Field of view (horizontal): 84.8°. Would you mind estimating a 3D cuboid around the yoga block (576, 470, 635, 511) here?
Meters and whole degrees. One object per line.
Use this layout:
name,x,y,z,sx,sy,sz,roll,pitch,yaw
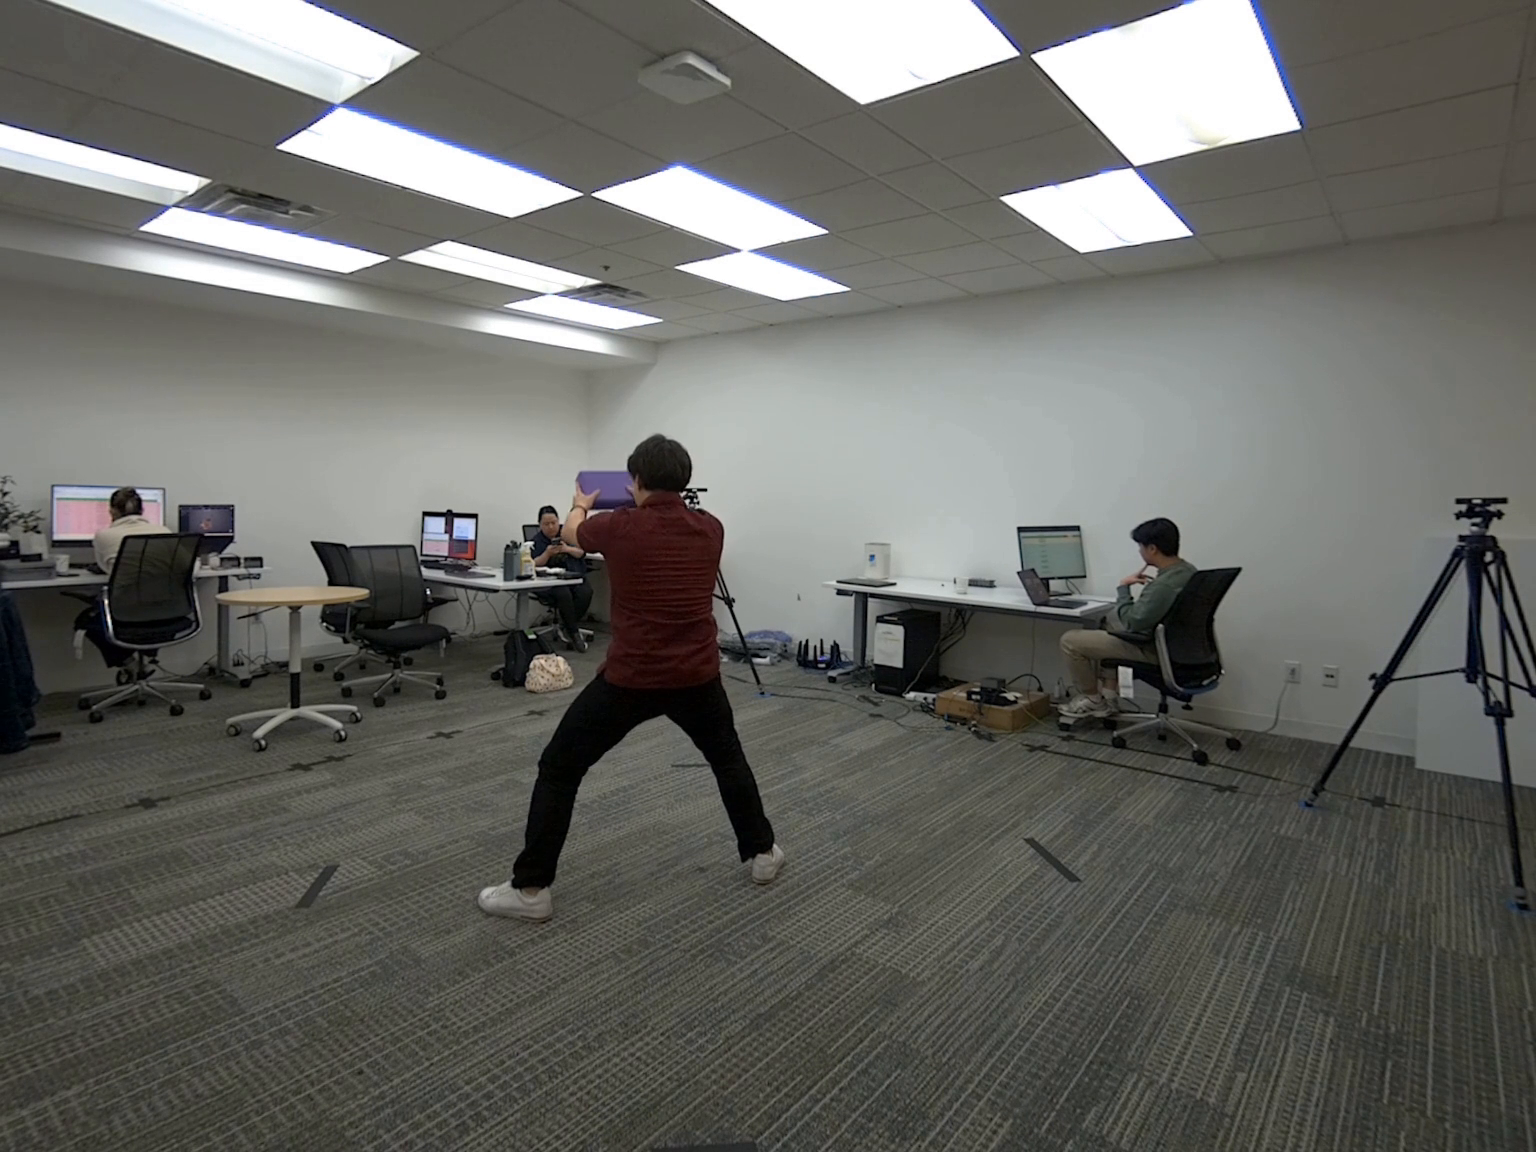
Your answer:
yoga block,-0.632,-0.316,3.353,0.224,0.153,0.076,-8,-24,-24
